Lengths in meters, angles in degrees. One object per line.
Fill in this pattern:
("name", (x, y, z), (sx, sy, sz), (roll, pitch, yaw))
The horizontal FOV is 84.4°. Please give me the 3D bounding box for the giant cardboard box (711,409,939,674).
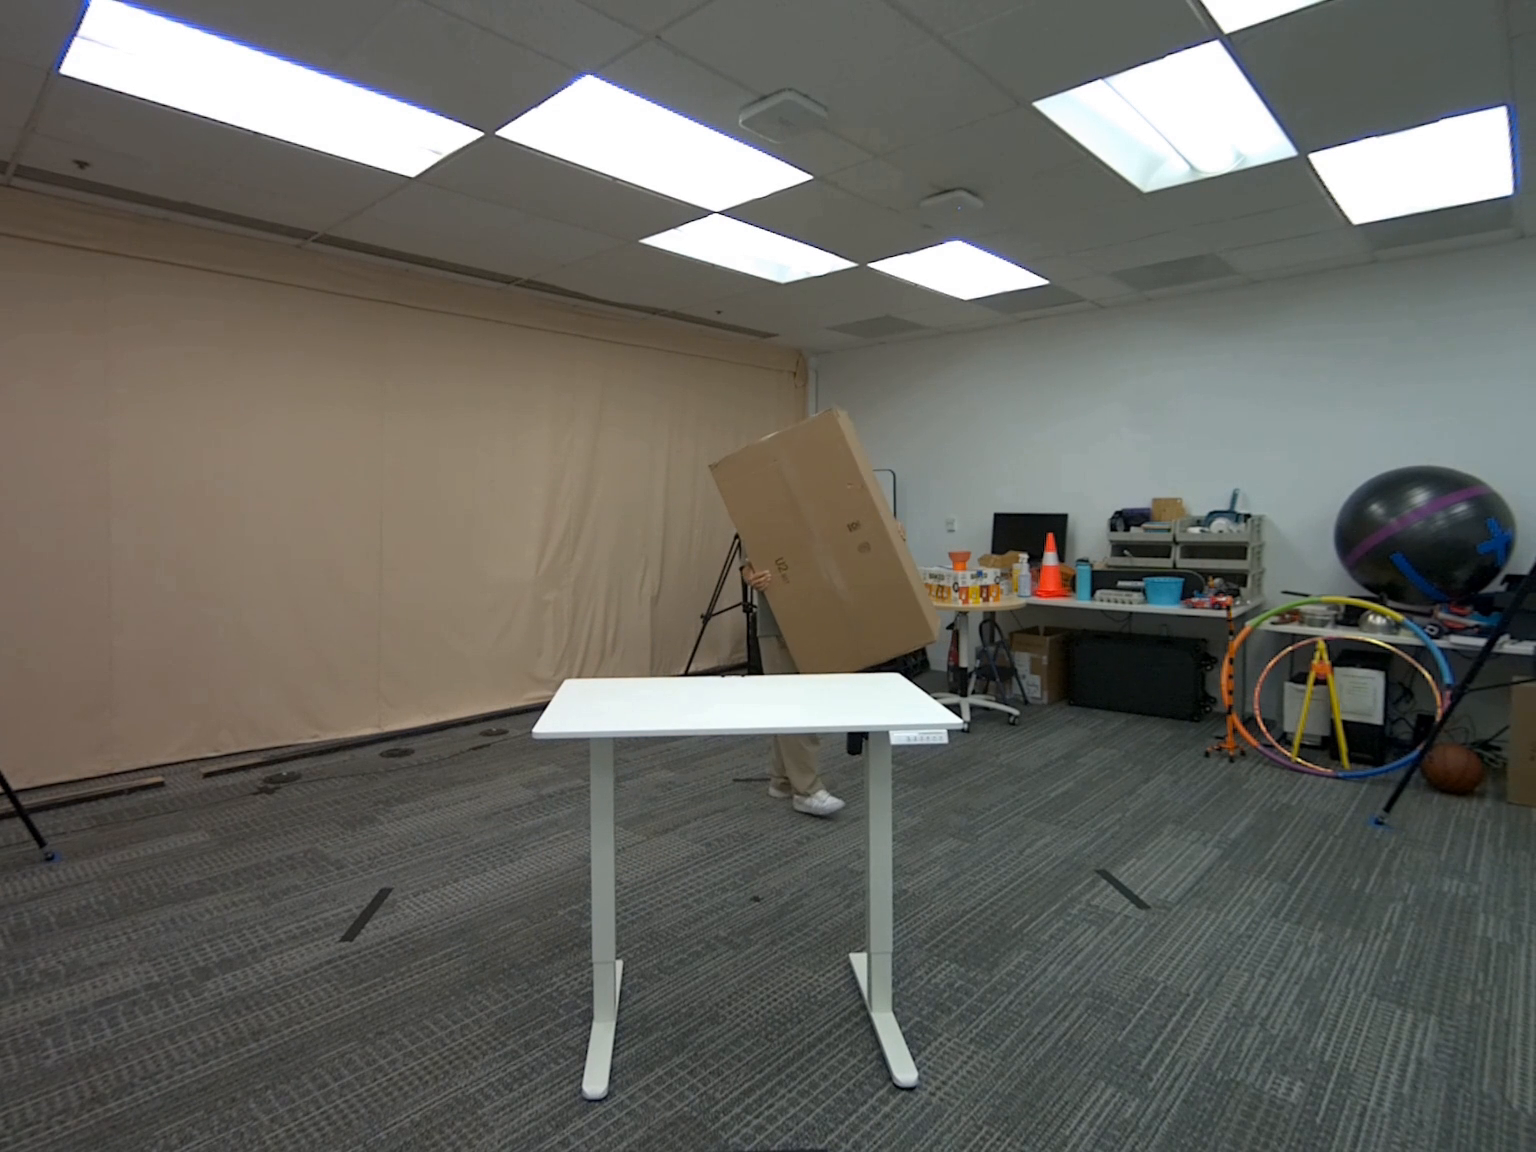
("giant cardboard box", (0.261, -0.127, 3.614), (0.584, 1.027, 0.420), (-24, -1, 17))
